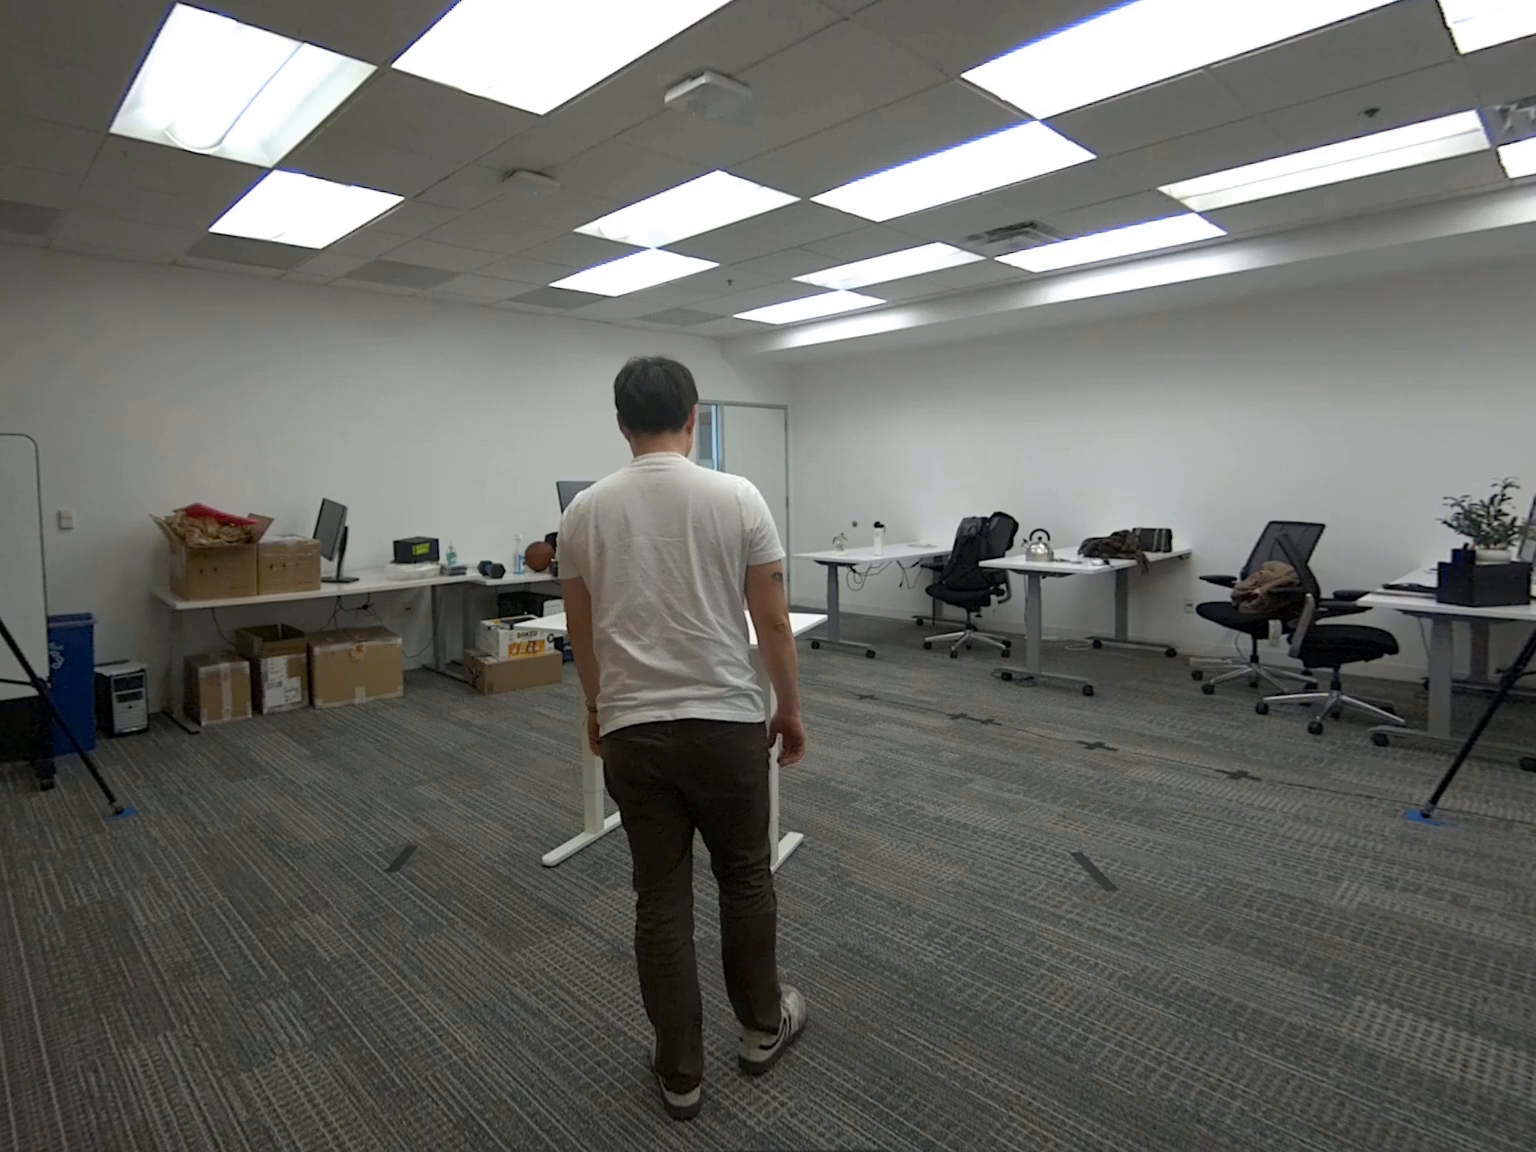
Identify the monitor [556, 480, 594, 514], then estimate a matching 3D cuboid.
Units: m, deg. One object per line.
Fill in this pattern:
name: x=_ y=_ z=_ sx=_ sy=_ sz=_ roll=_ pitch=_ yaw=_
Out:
monitor: x=-0.530 y=-0.095 z=3.211 sx=0.525 sy=0.522 sz=0.192 roll=-5 pitch=1 yaw=-43
